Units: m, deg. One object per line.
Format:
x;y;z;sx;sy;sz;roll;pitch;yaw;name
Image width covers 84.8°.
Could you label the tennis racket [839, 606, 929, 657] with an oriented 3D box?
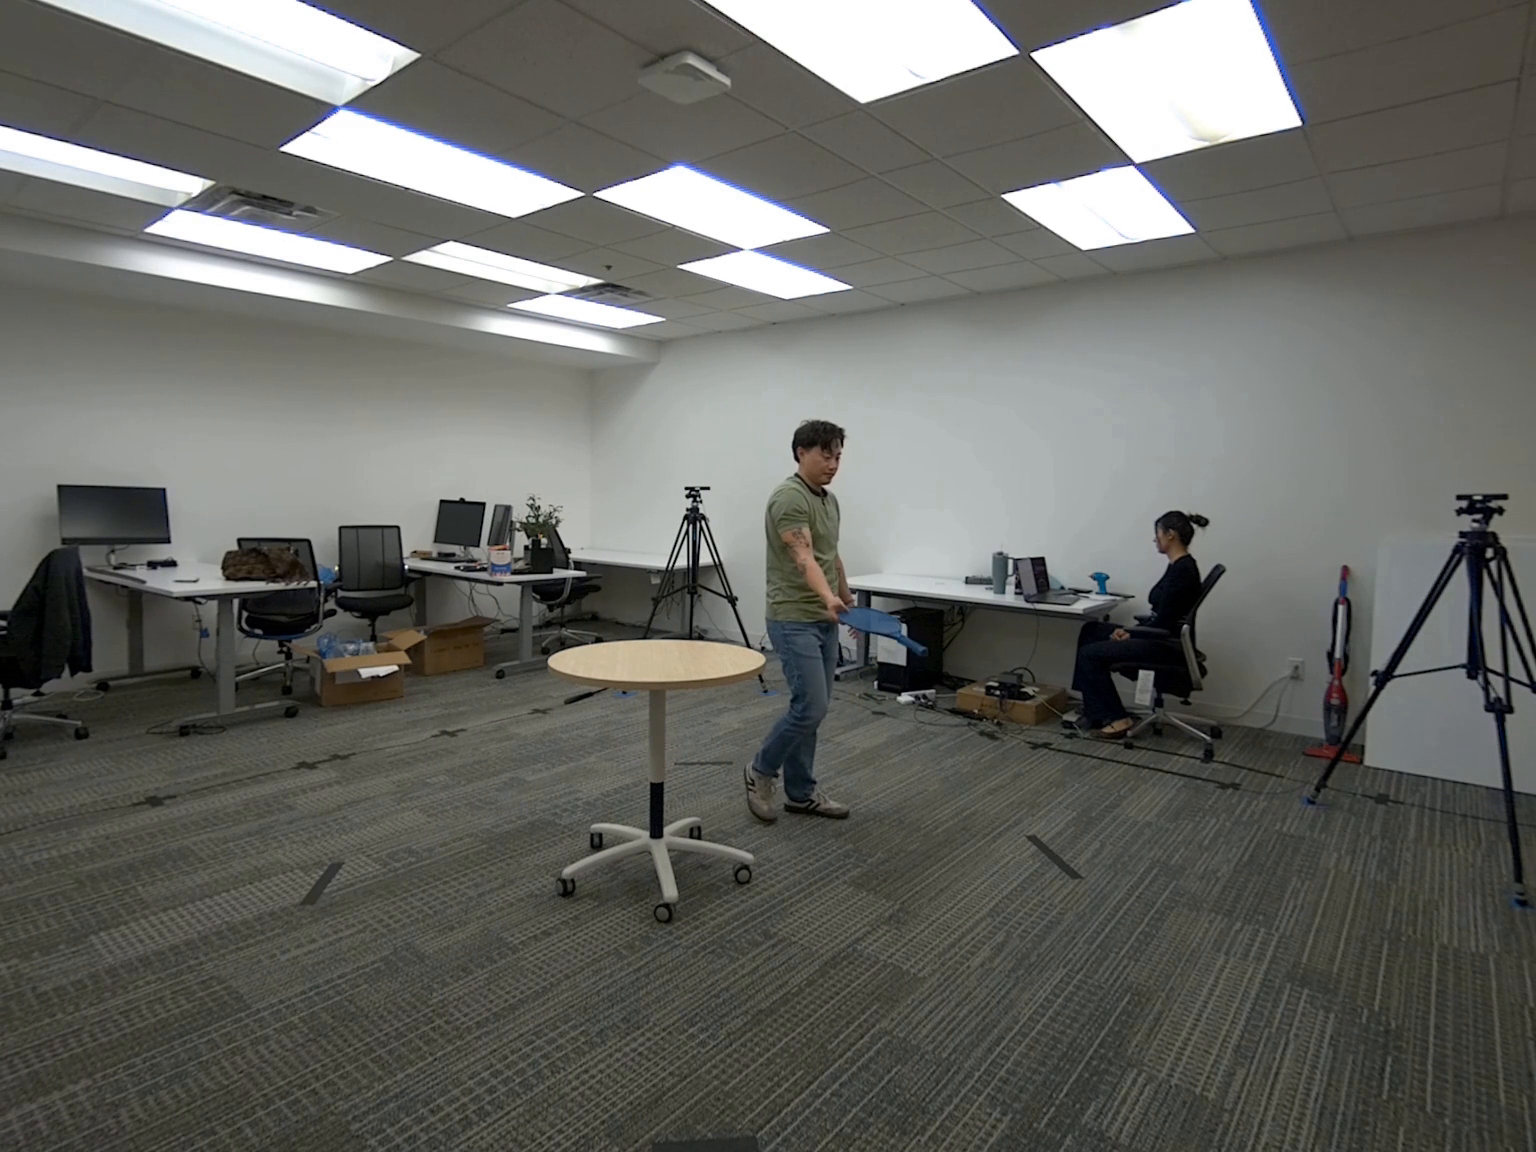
0.410;0.187;3.014;0.208;0.031;0.450;-7;21;-32;tennis racket
